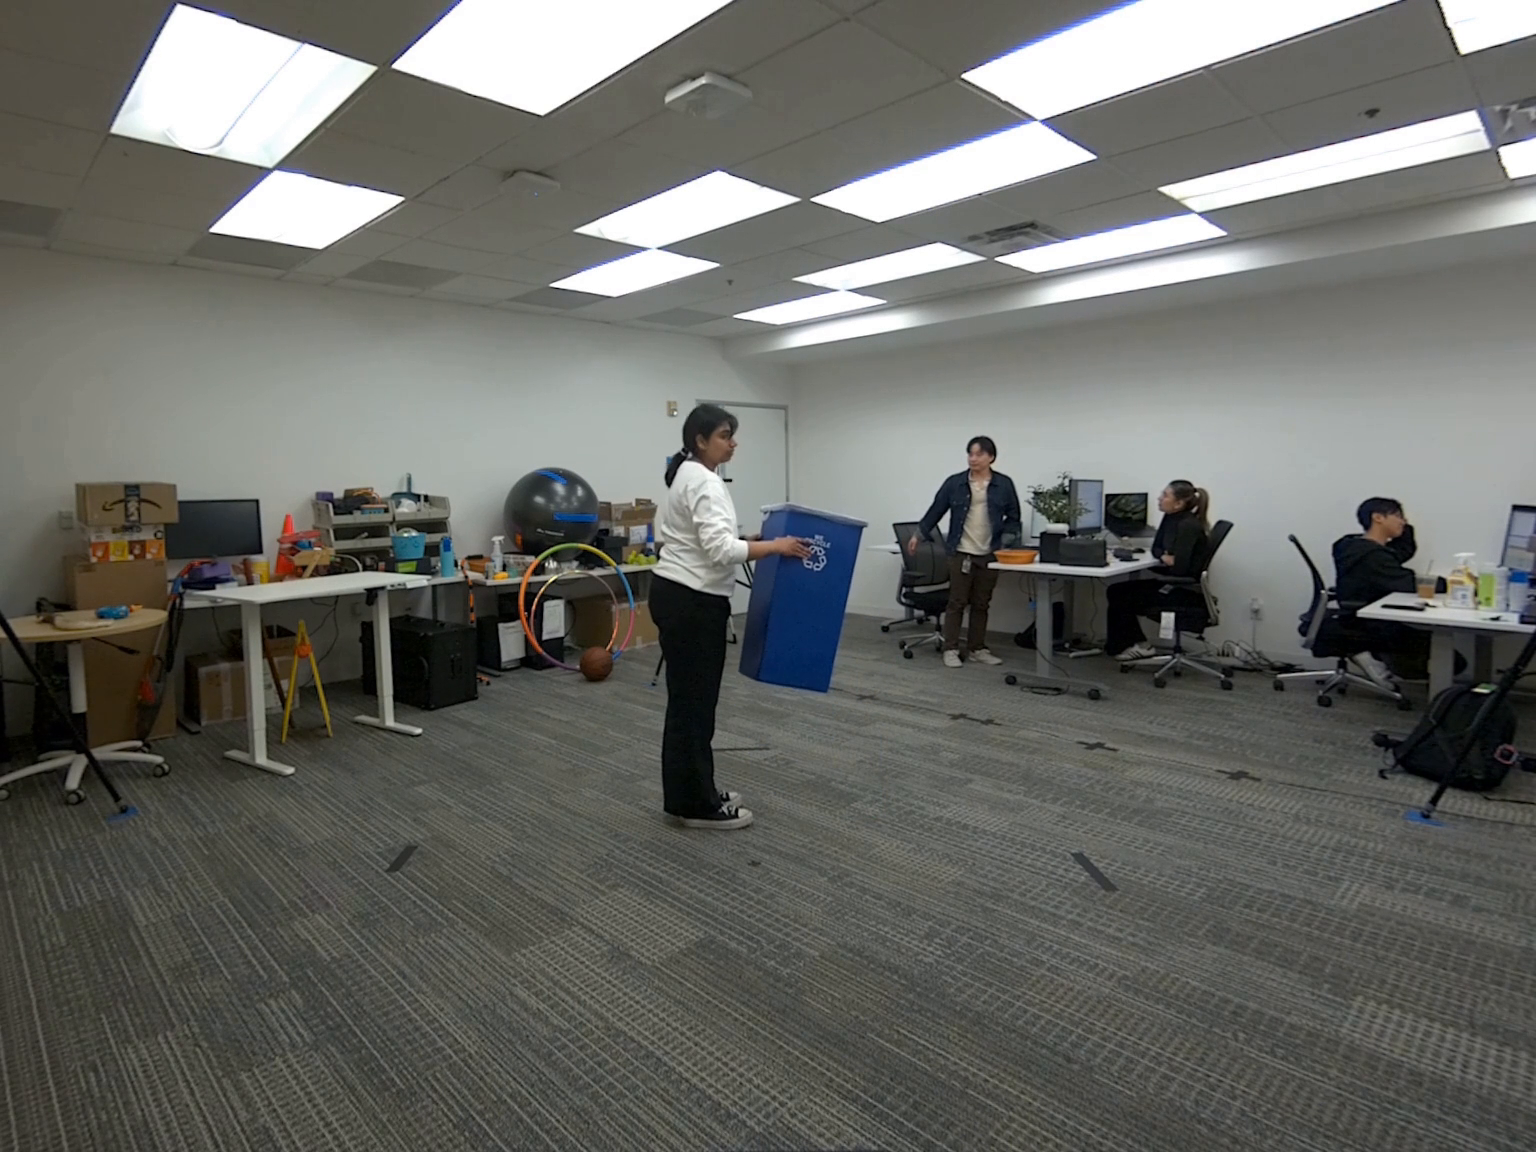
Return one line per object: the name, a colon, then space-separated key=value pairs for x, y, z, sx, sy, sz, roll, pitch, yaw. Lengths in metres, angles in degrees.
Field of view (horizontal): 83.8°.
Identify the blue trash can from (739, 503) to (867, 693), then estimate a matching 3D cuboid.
blue trash can: x=0.125 y=0.099 z=3.557 sx=0.368 sy=0.715 sz=0.383 roll=12 pitch=-3 yaw=-16
